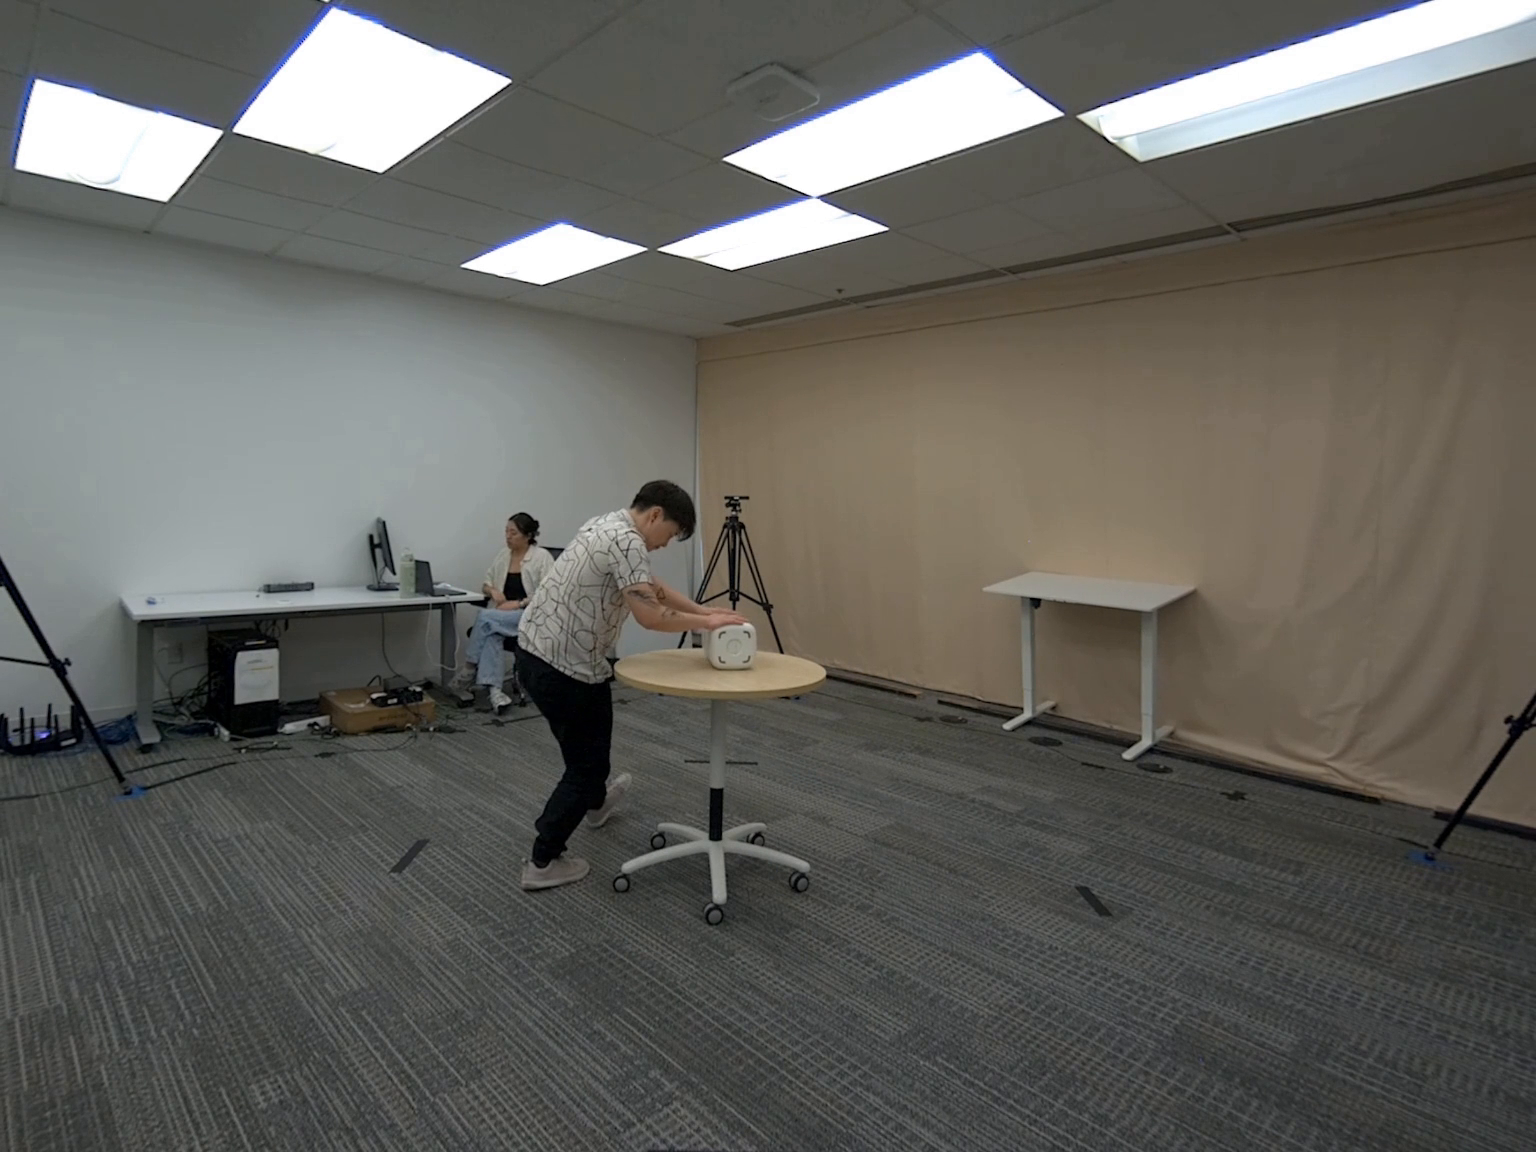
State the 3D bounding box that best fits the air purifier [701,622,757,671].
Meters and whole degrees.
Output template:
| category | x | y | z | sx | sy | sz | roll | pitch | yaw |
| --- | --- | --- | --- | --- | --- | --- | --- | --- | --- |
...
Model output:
| category | x | y | z | sx | sy | sz | roll | pitch | yaw |
| --- | --- | --- | --- | --- | --- | --- | --- | --- | --- |
| air purifier | -0.155 | 0.235 | 3.107 | 0.170 | 0.171 | 0.268 | 0 | 5 | -11 |
